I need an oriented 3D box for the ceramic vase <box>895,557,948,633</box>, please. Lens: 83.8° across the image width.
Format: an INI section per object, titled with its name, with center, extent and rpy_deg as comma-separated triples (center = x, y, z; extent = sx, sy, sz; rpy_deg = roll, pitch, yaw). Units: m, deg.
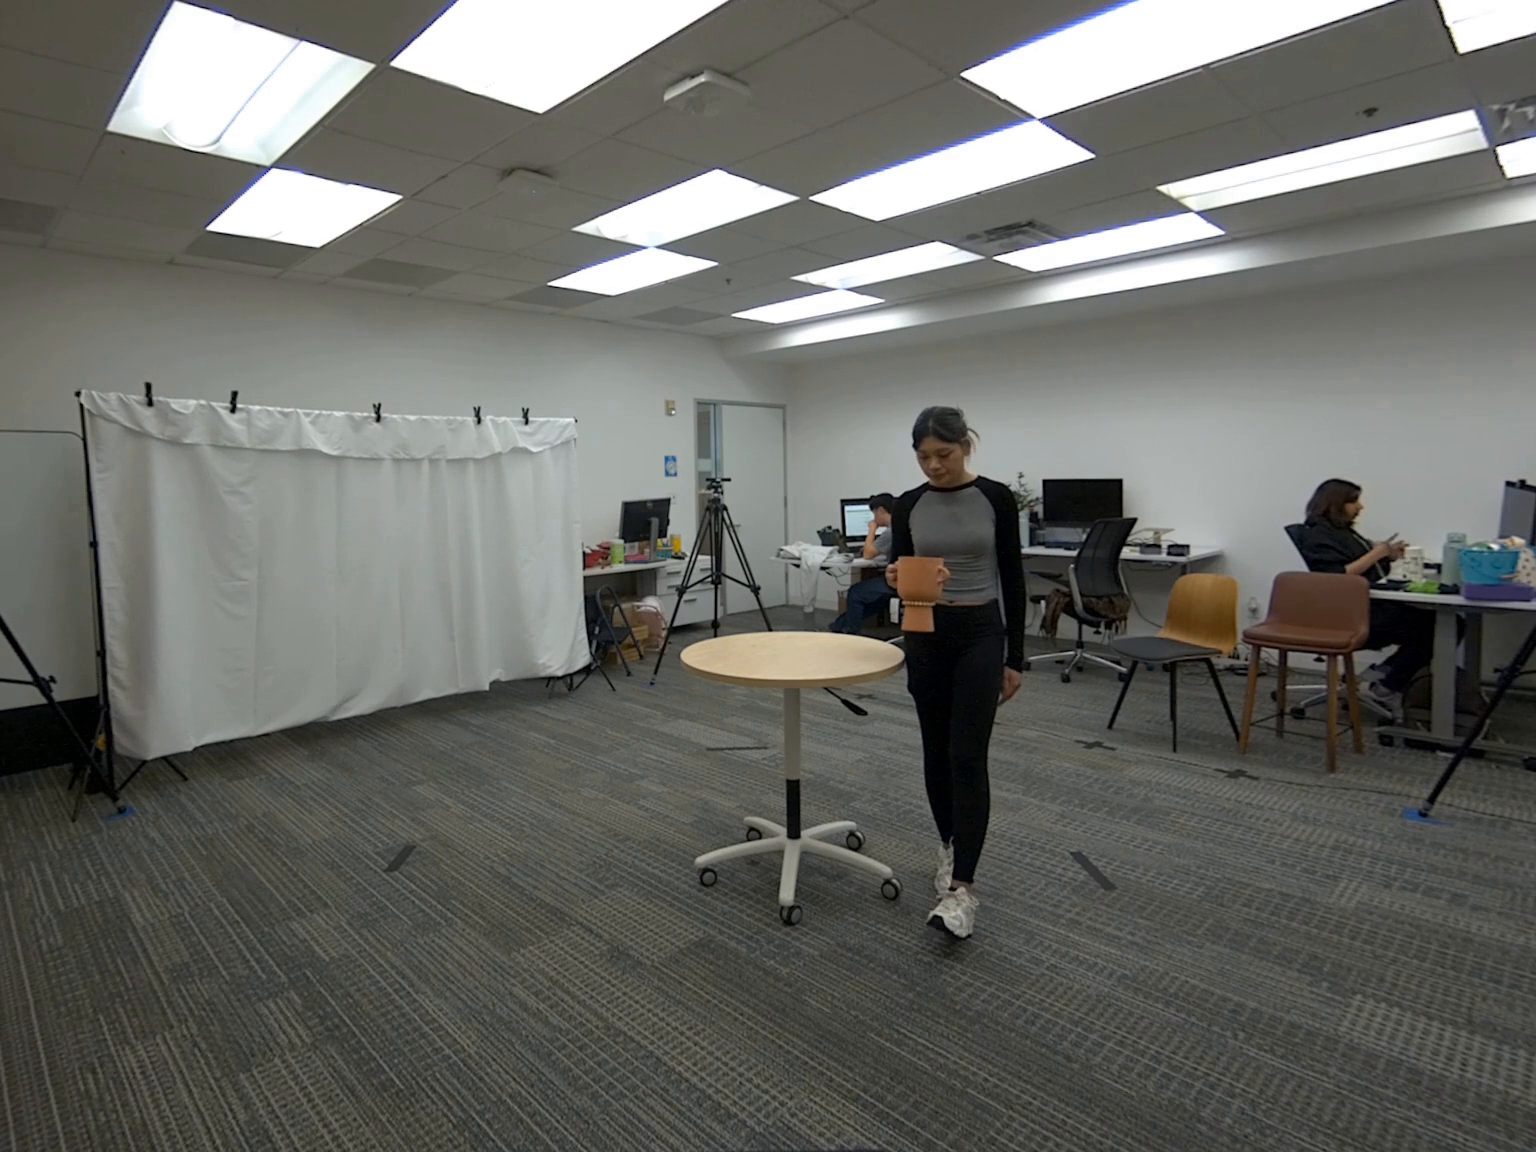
[ceramic vase]
center = 0.463, 0.058, 2.577
extent = 0.134, 0.220, 0.160
rpy_deg = 3, -1, -7
